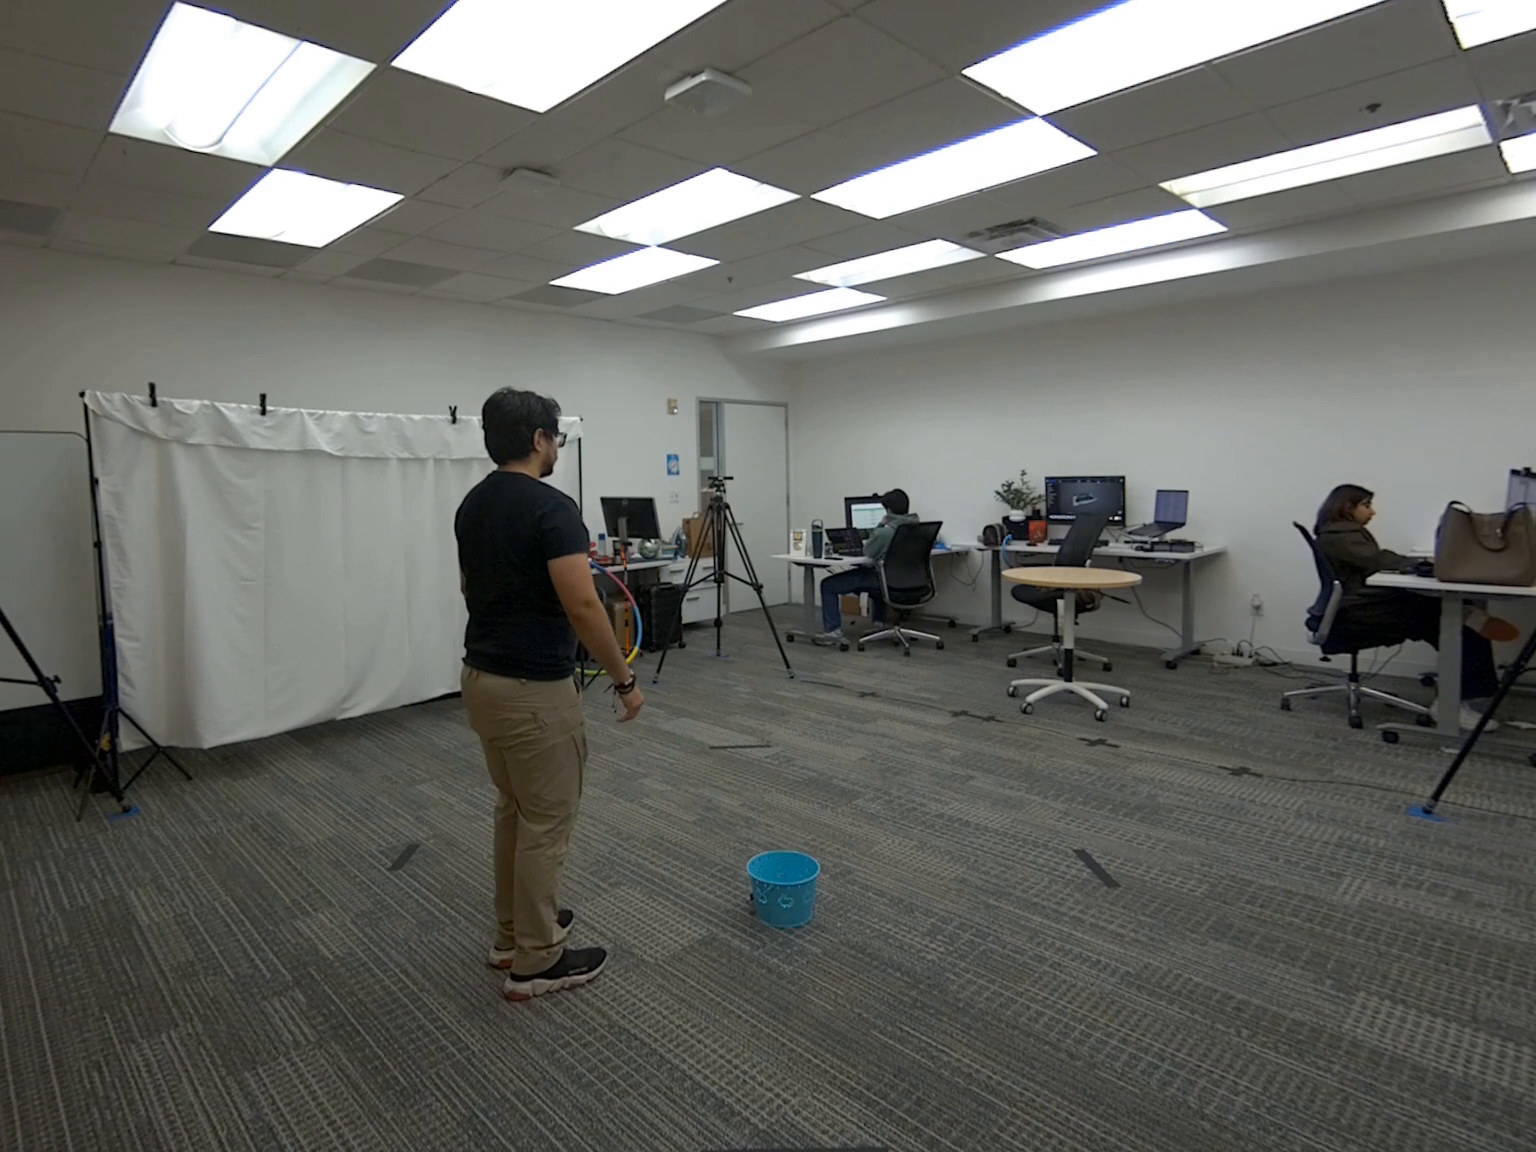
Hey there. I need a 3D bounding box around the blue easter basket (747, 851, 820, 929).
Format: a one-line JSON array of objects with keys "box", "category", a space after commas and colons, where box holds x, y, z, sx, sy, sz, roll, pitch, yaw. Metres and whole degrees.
[{"box": [0.051, 1.002, 2.731, 0.243, 0.155, 0.245, -2, 6, -2], "category": "blue easter basket"}]
